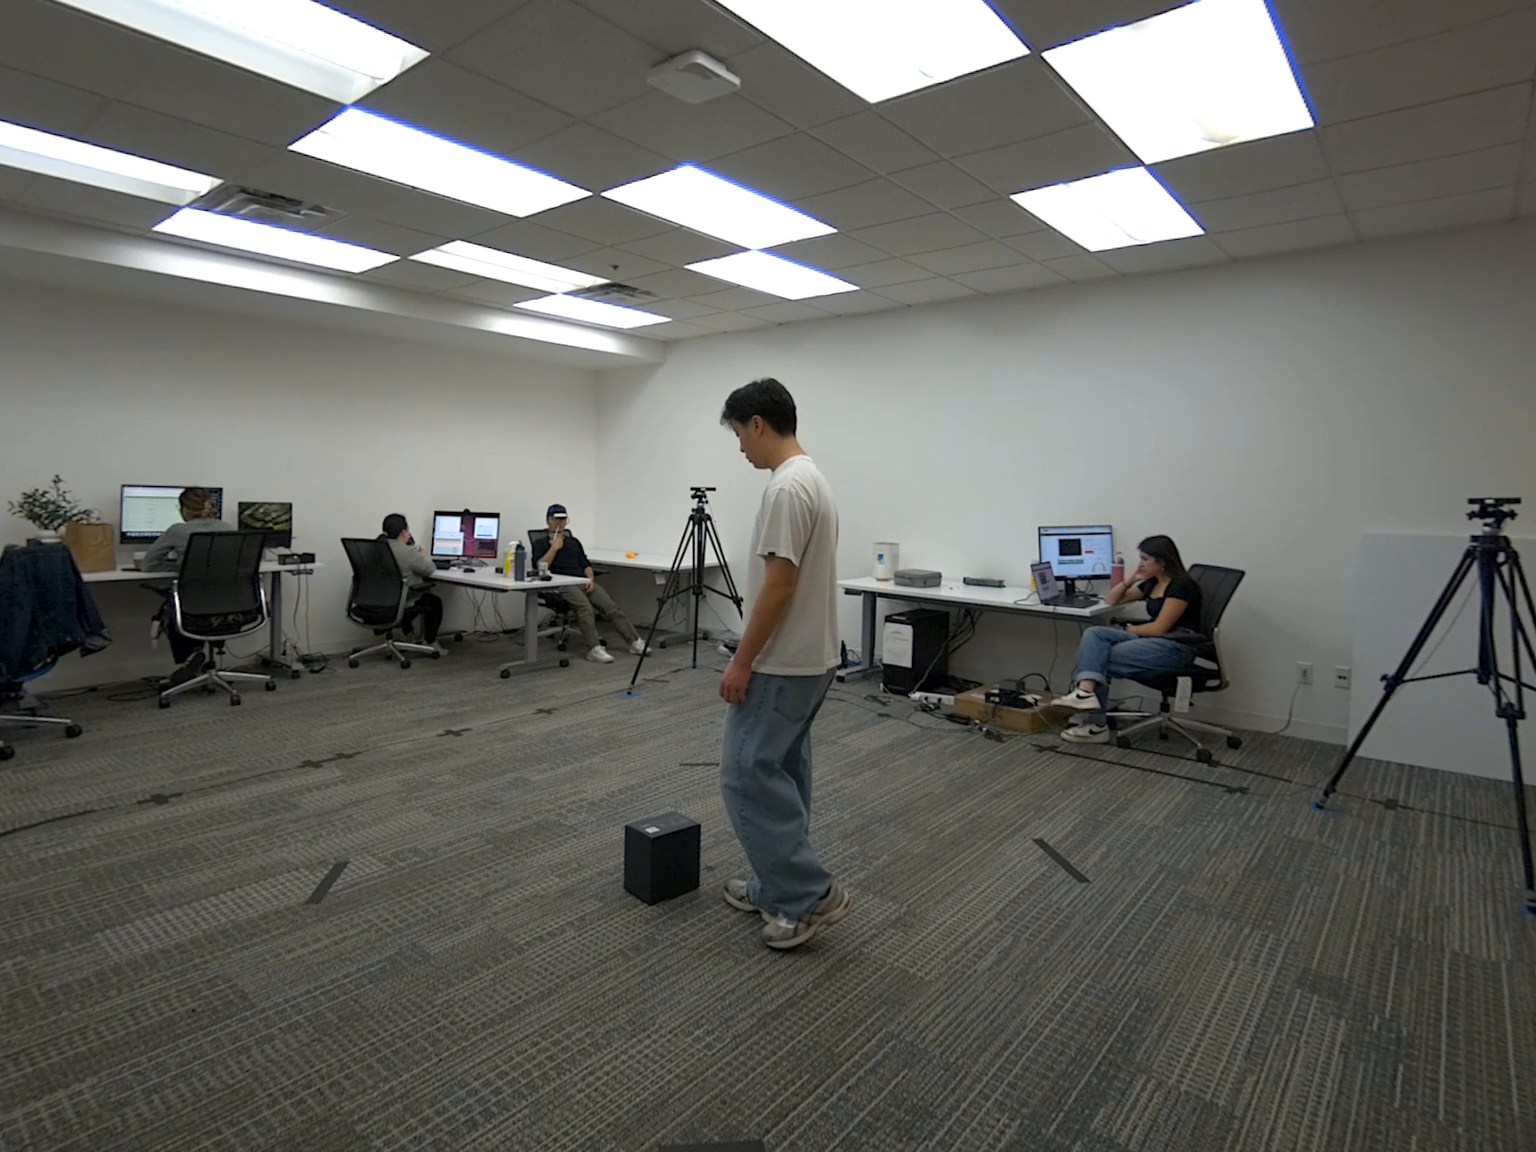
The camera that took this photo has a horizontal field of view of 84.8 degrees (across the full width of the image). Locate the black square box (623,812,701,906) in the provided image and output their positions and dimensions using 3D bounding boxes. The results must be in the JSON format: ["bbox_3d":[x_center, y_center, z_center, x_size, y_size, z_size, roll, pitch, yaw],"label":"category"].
[{"bbox_3d":[-0.371,0.960,2.934,0.210,0.227,0.161,-2,4,-43],"label":"black square box"}]
